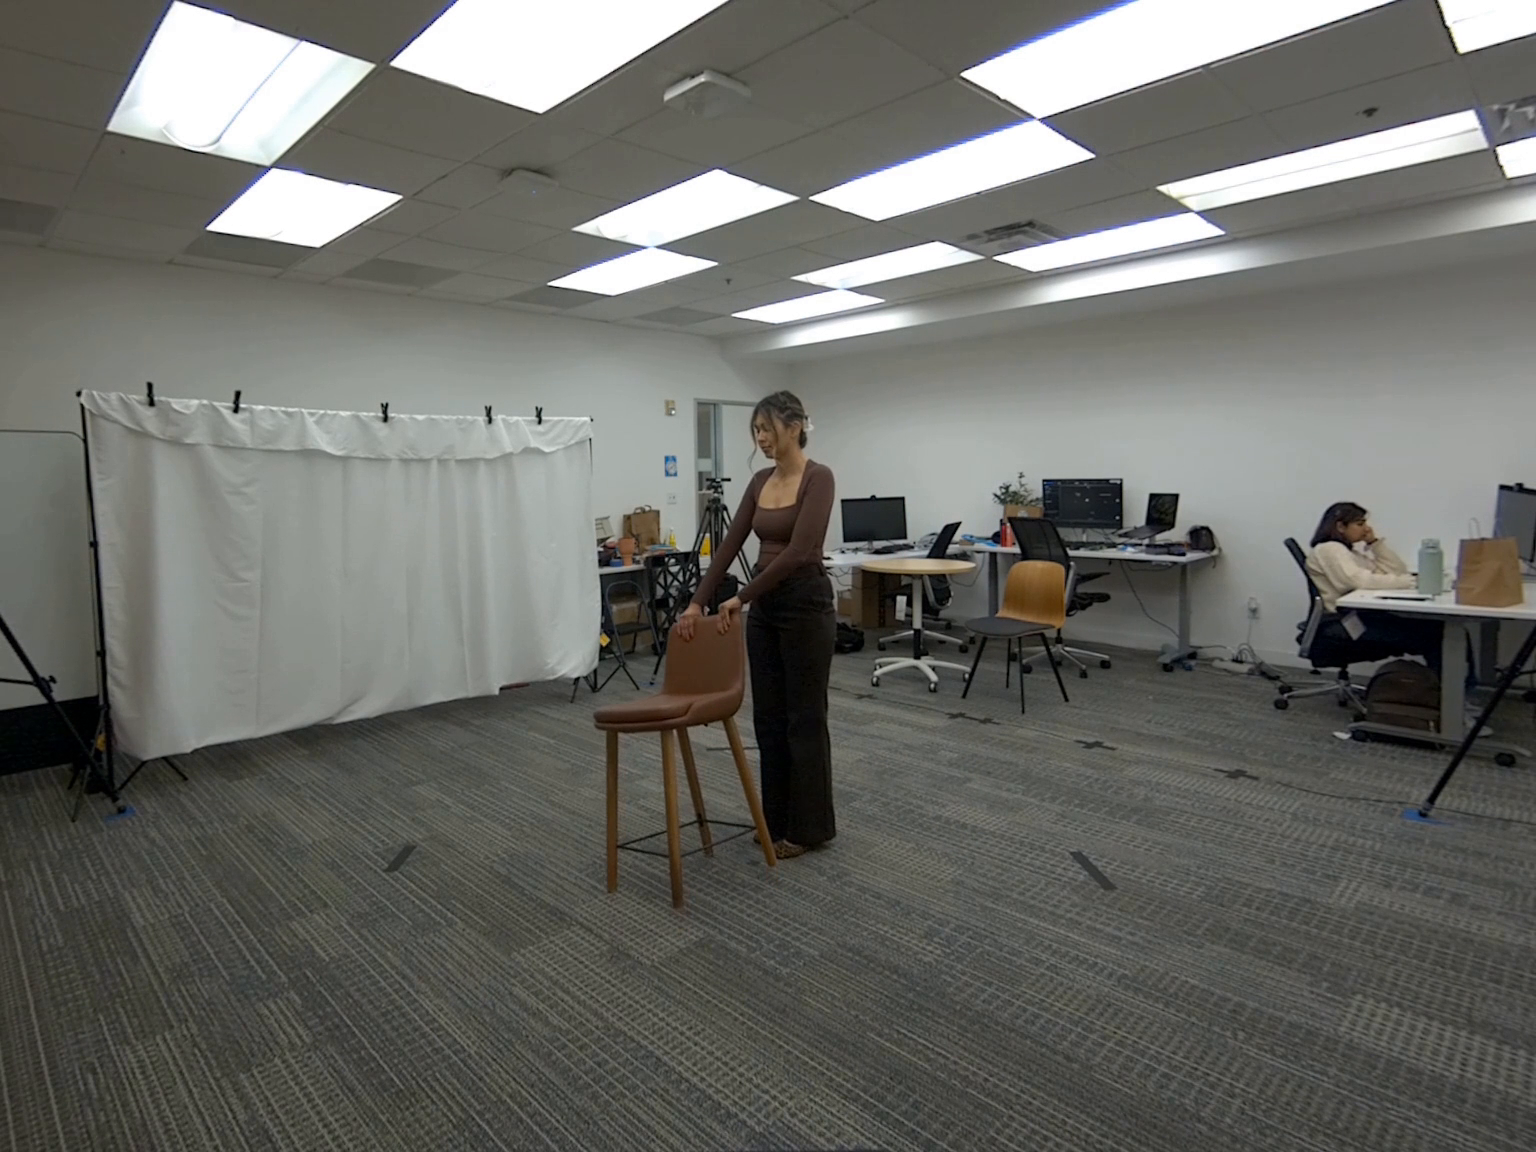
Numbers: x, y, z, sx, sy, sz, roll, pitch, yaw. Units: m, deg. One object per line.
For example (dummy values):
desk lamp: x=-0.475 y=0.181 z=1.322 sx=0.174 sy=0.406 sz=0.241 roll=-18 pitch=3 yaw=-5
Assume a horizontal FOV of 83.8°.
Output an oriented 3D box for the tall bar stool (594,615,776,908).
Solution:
tall bar stool: x=-0.307 y=0.596 z=2.956 sx=0.454 sy=0.896 sz=0.466 roll=-1 pitch=-8 yaw=-42
